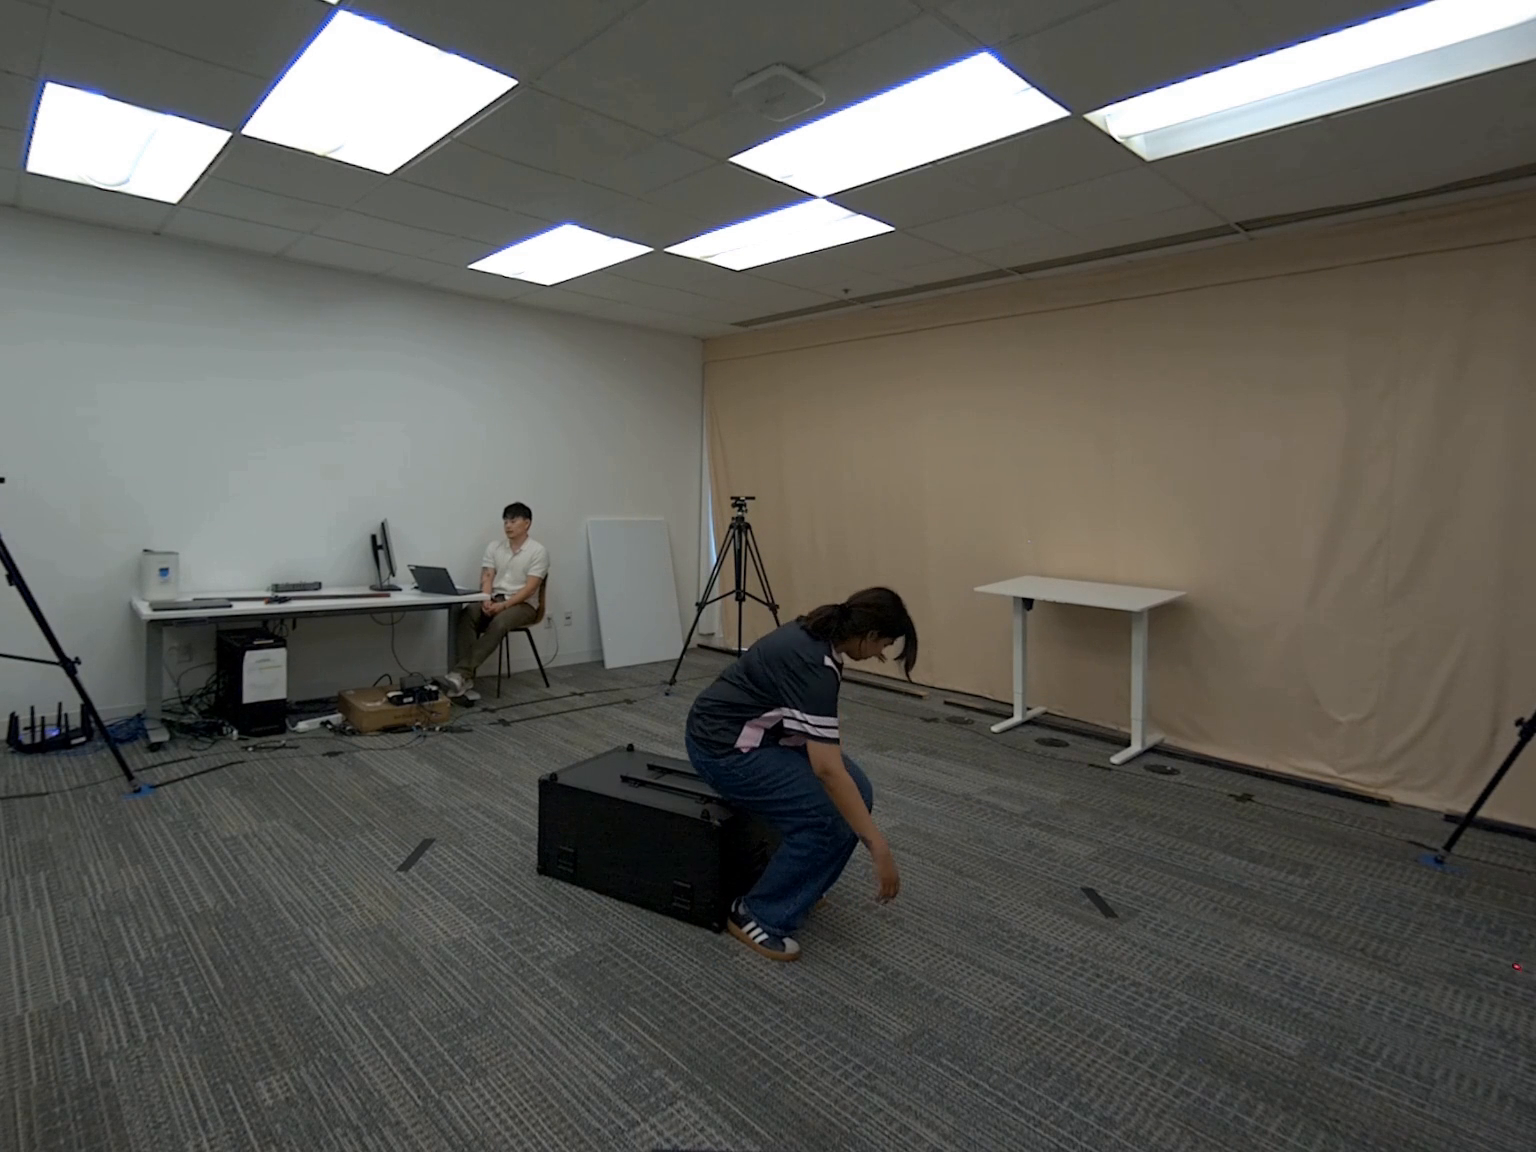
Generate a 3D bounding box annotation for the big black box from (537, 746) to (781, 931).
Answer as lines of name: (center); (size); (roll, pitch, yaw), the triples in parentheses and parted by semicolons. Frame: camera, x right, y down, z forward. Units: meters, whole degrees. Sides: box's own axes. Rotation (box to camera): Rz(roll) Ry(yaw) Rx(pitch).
big black box: (-0.425, 0.914, 3.087); (0.887, 0.384, 0.514); (4, 7, 29)
